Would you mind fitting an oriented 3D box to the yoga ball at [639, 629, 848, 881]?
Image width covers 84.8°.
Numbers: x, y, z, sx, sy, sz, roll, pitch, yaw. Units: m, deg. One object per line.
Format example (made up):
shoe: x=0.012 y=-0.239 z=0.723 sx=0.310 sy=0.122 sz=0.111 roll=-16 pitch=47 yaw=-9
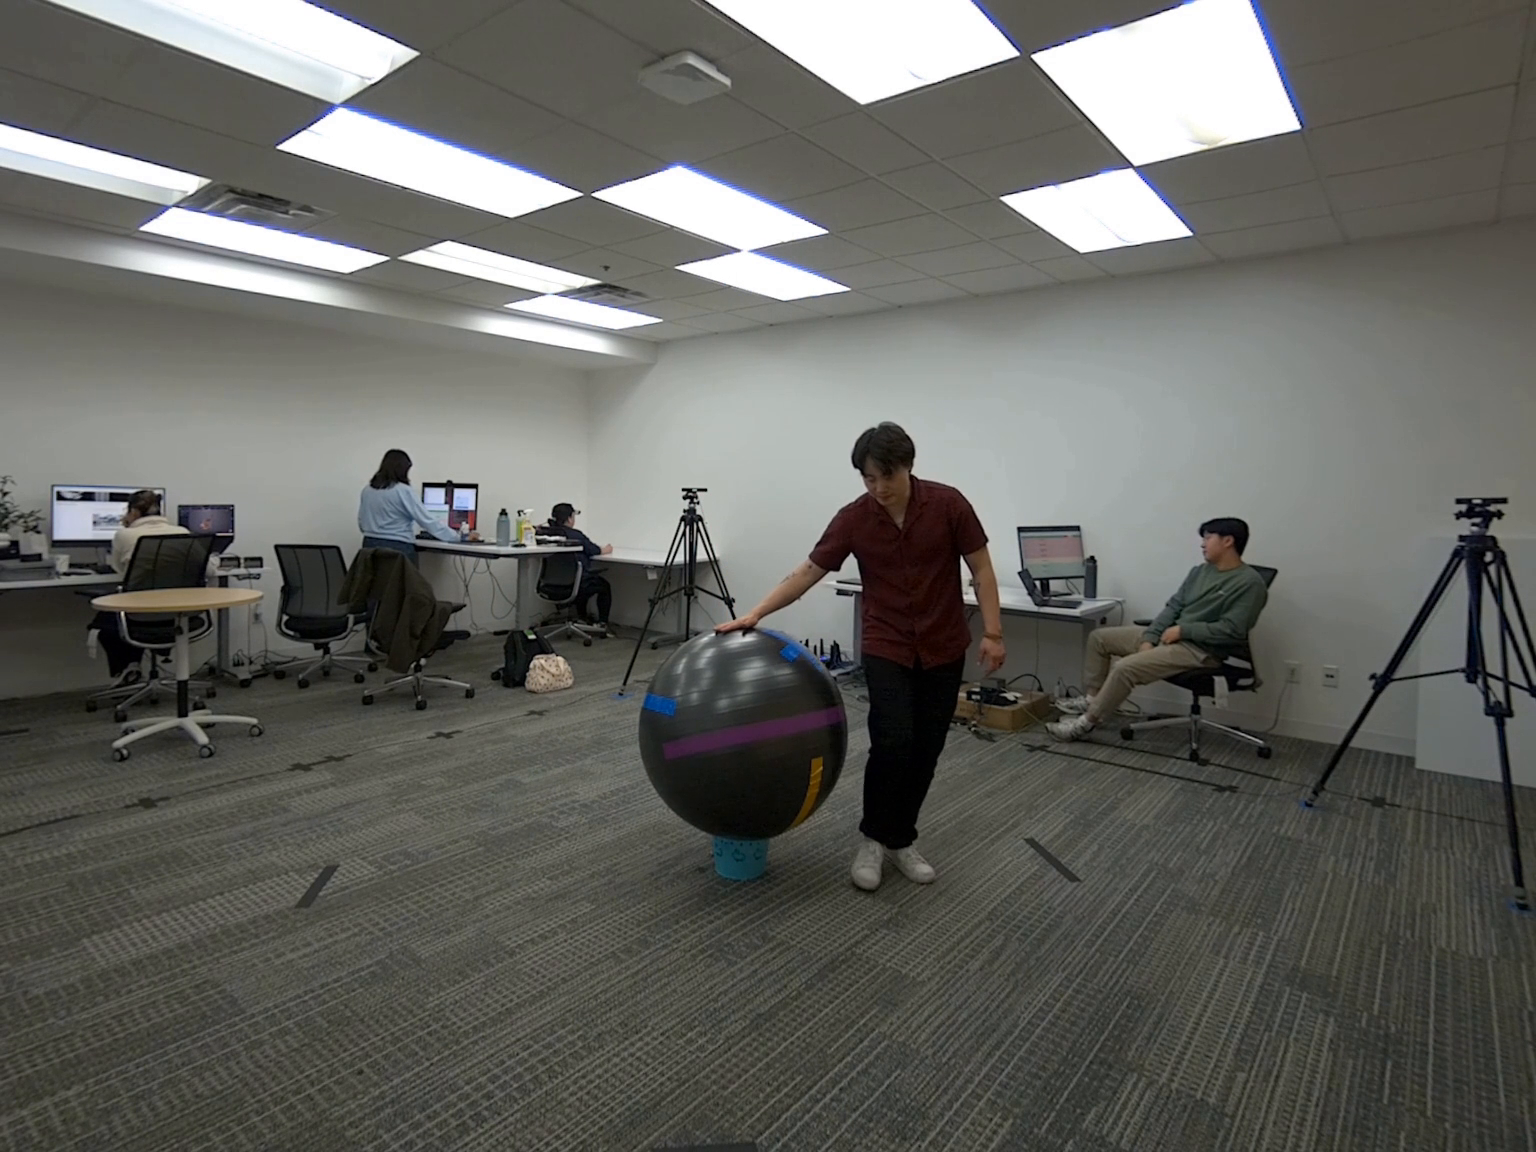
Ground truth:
yoga ball: x=-0.106 y=0.561 z=3.102 sx=0.757 sy=0.755 sz=0.762 roll=1 pitch=4 yaw=-2
